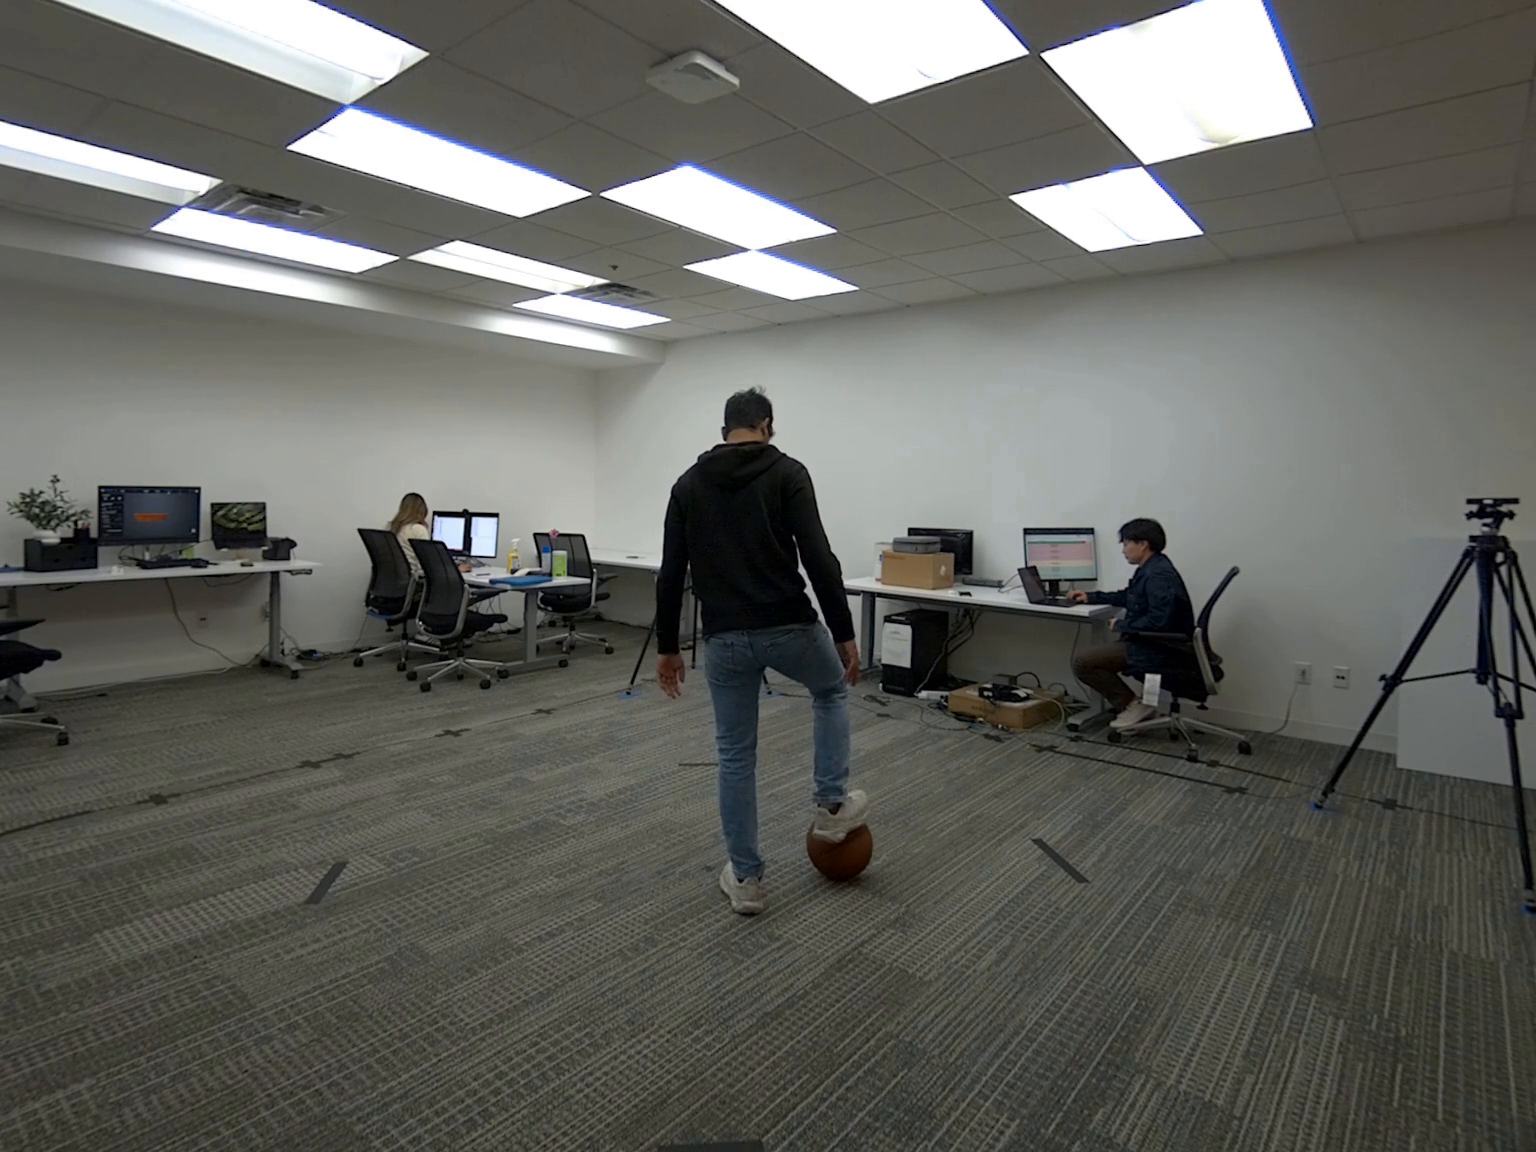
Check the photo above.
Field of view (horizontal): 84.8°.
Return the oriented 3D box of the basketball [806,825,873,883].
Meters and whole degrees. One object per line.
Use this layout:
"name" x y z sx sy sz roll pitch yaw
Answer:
"basketball" 0.255 0.962 3.078 0.235 0.235 0.237 1 4 -2
